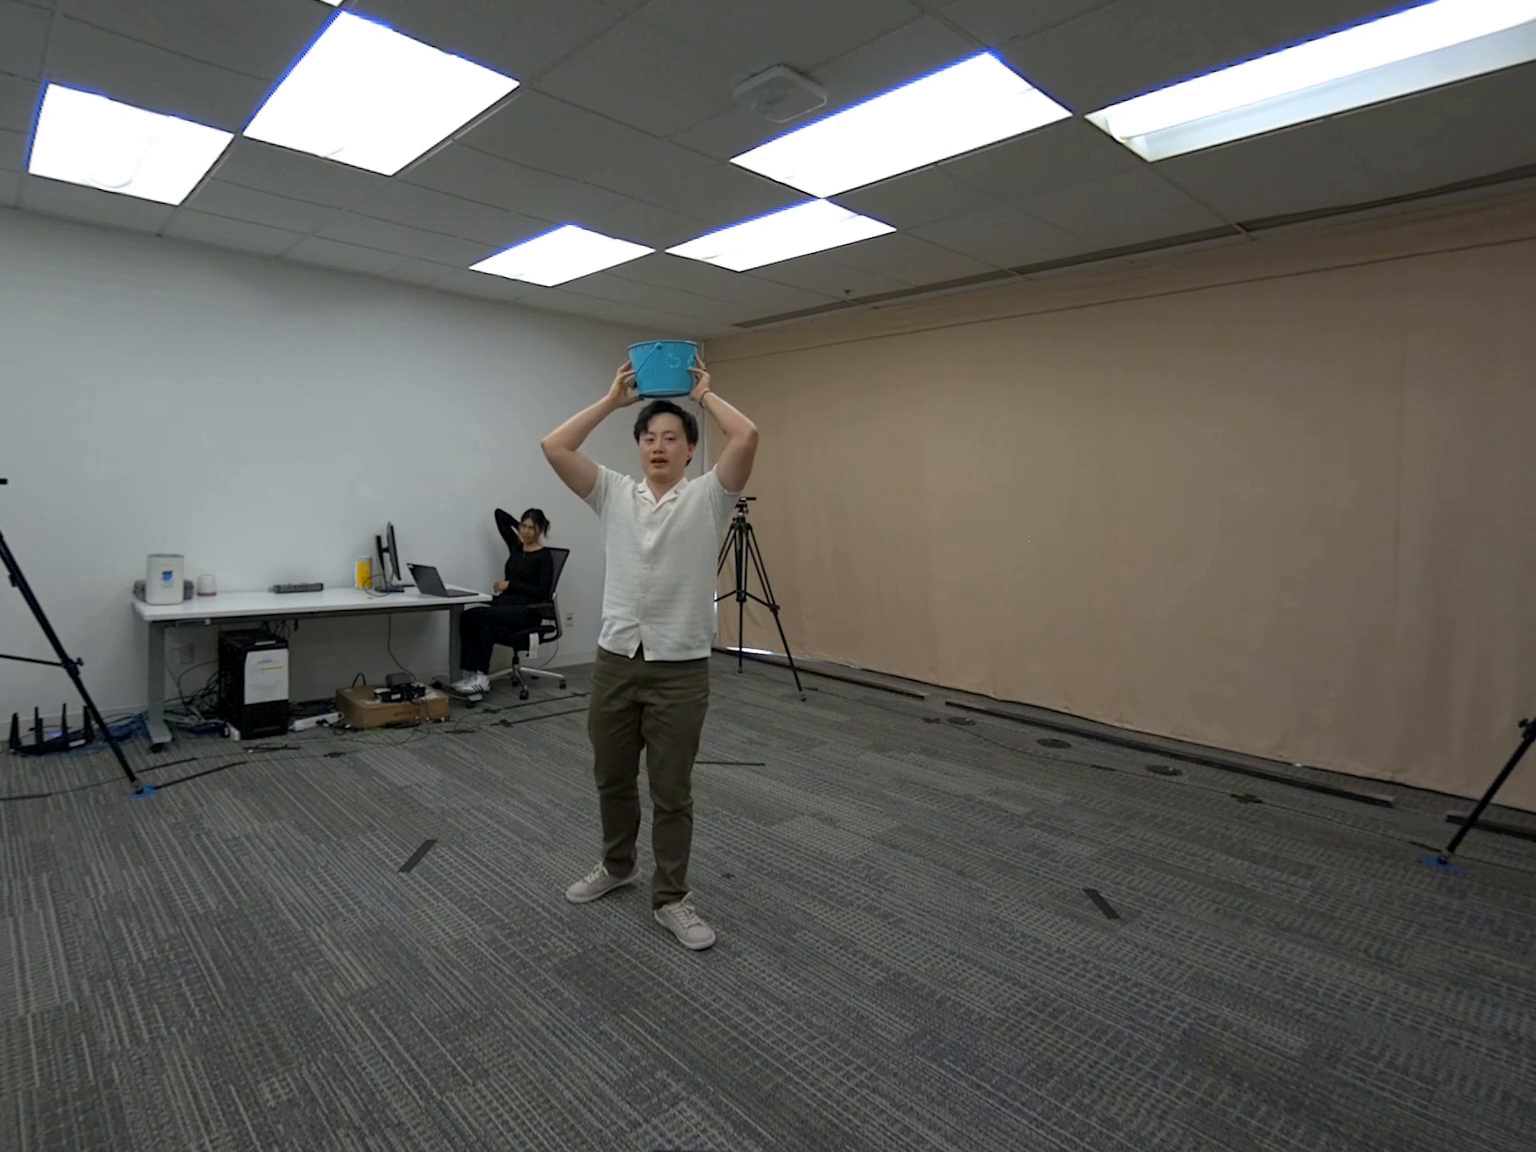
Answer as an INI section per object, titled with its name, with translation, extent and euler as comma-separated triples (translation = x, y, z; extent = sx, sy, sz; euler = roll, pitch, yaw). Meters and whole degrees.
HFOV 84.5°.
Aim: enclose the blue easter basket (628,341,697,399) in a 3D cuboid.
[blue easter basket]
translation = -0.338, -0.666, 2.735
extent = 0.243, 0.155, 0.245
euler = -3, 6, -1
